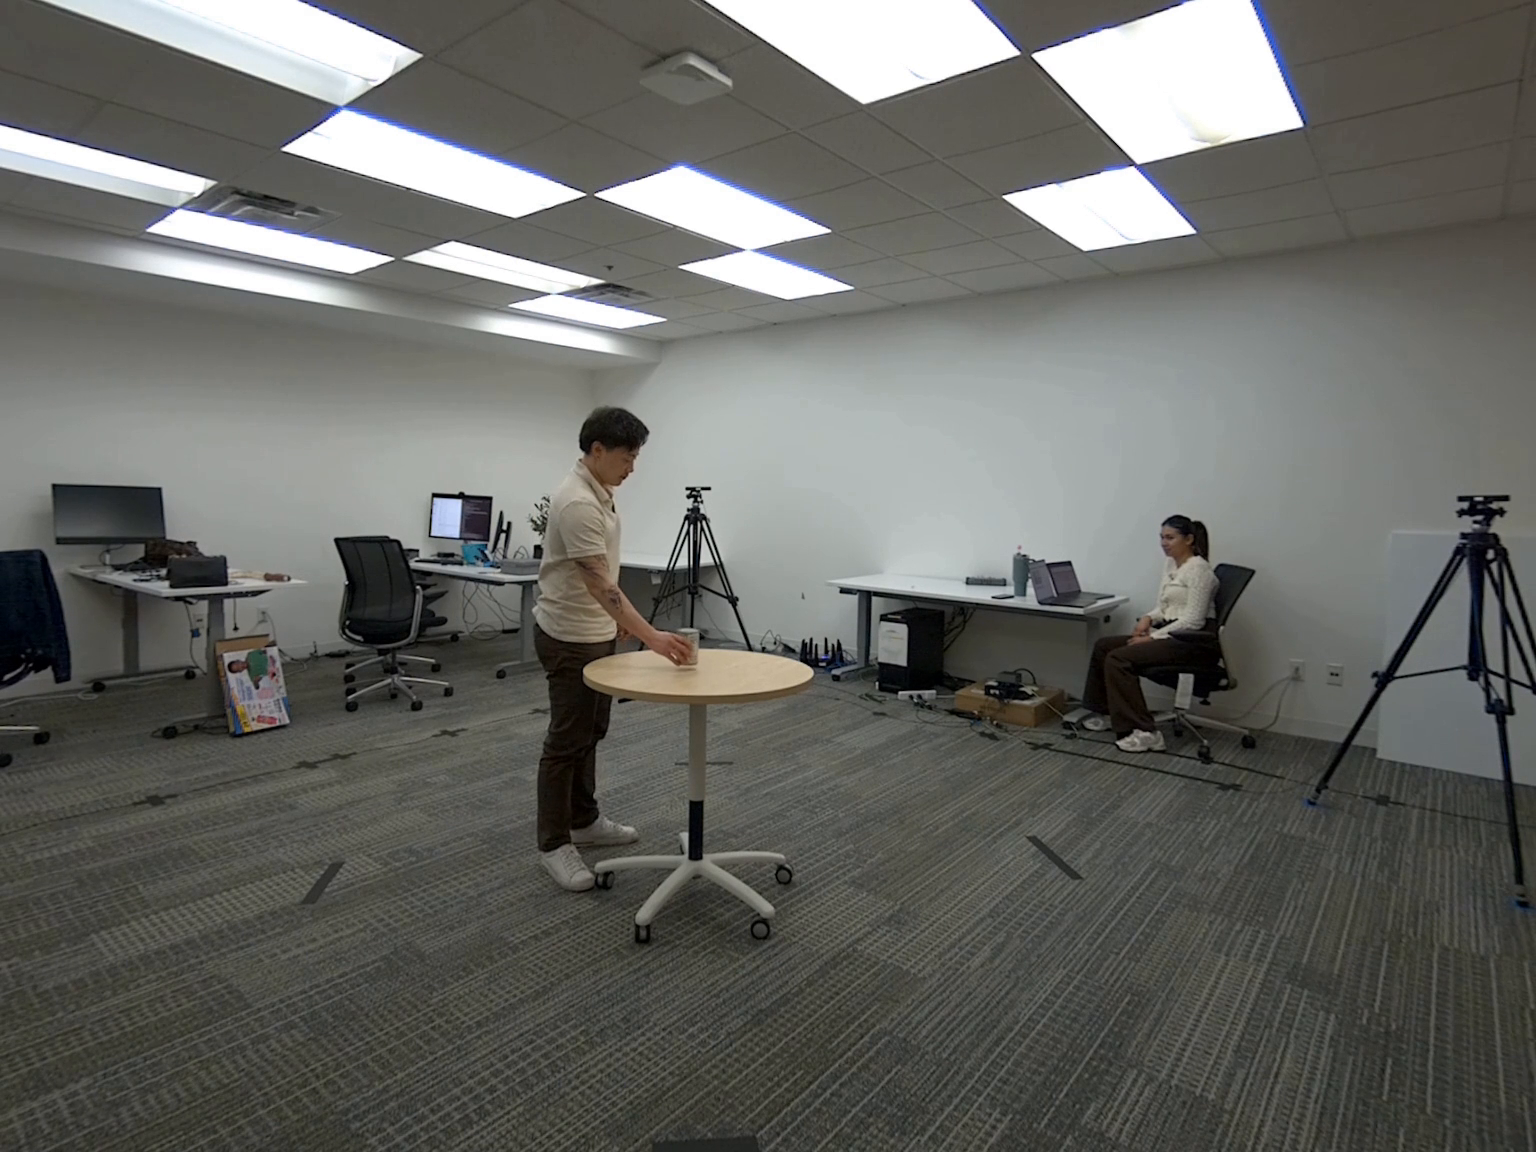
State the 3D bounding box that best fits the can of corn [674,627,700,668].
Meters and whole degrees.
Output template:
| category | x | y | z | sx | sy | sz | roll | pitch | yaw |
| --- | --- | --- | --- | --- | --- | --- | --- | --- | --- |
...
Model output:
| category | x | y | z | sx | sy | sz | roll | pitch | yaw |
| --- | --- | --- | --- | --- | --- | --- | --- | --- | --- |
| can of corn | -0.284 | 0.233 | 2.828 | 0.074 | 0.110 | 0.075 | 1 | 6 | -2 |
